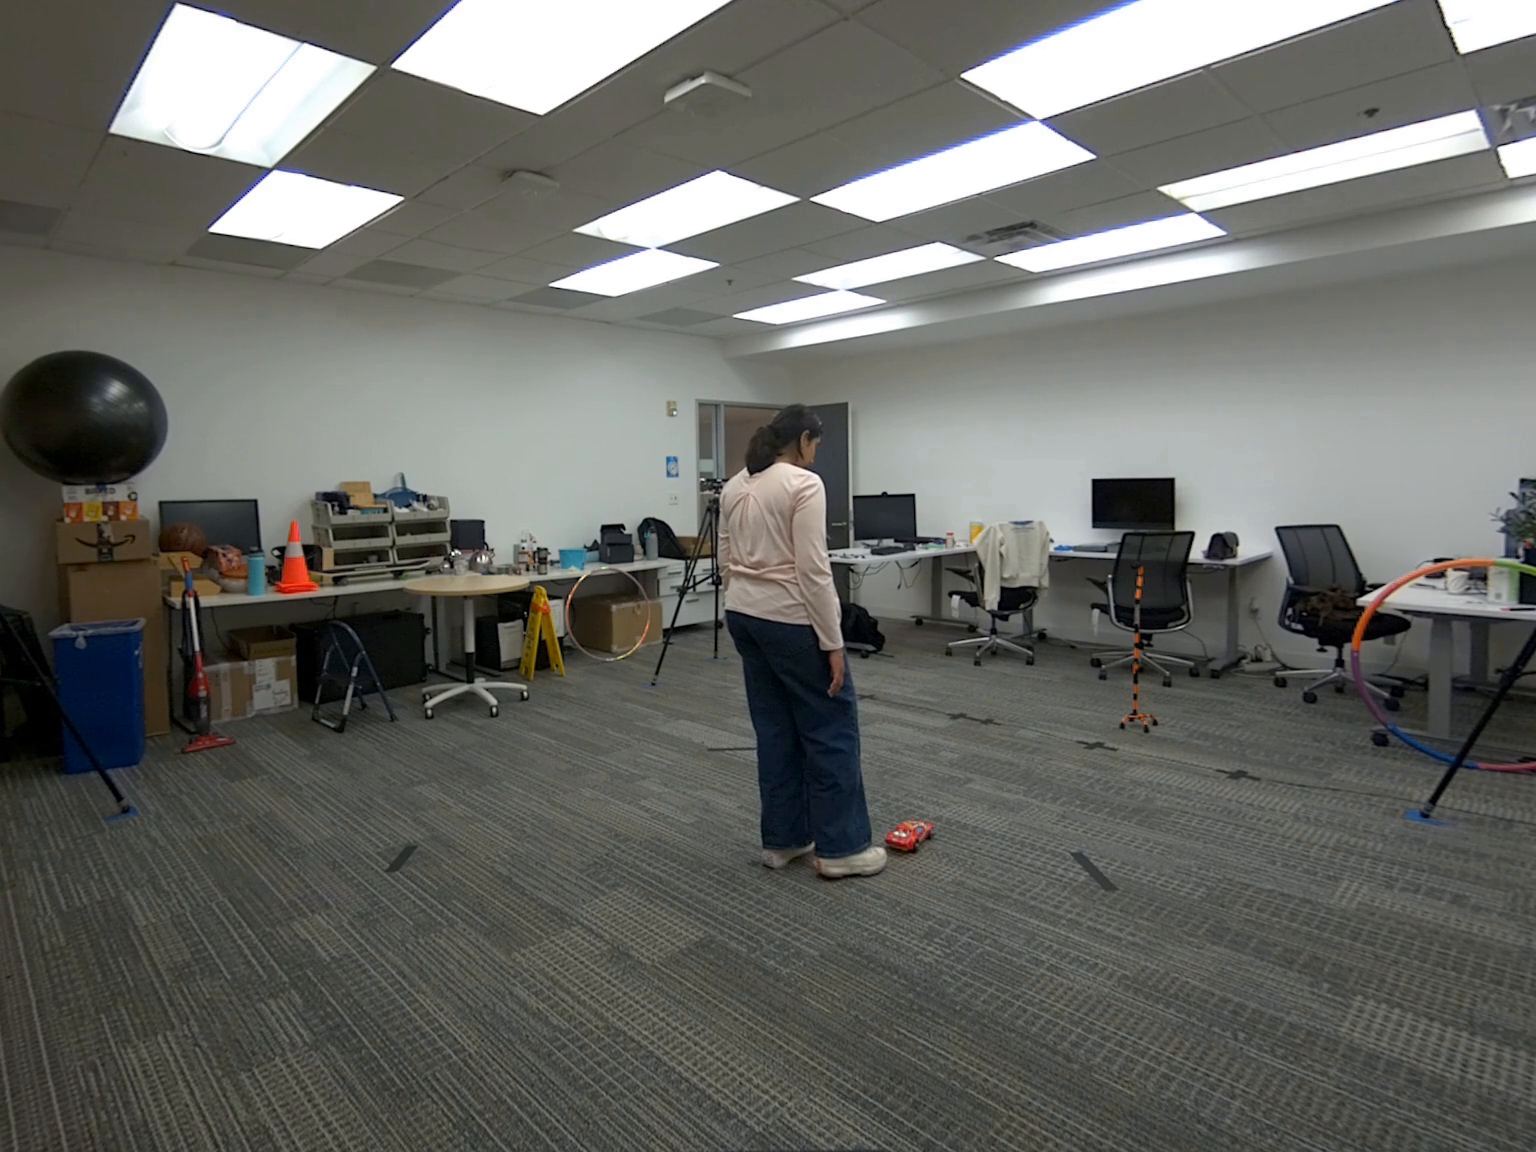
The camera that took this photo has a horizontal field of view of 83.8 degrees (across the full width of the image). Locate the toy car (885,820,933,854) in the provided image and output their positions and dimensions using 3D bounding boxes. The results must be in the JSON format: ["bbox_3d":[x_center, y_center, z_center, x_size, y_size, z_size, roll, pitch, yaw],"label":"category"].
[{"bbox_3d":[0.539,0.989,3.244,0.134,0.083,0.246,4,-3,35],"label":"toy car"}]
